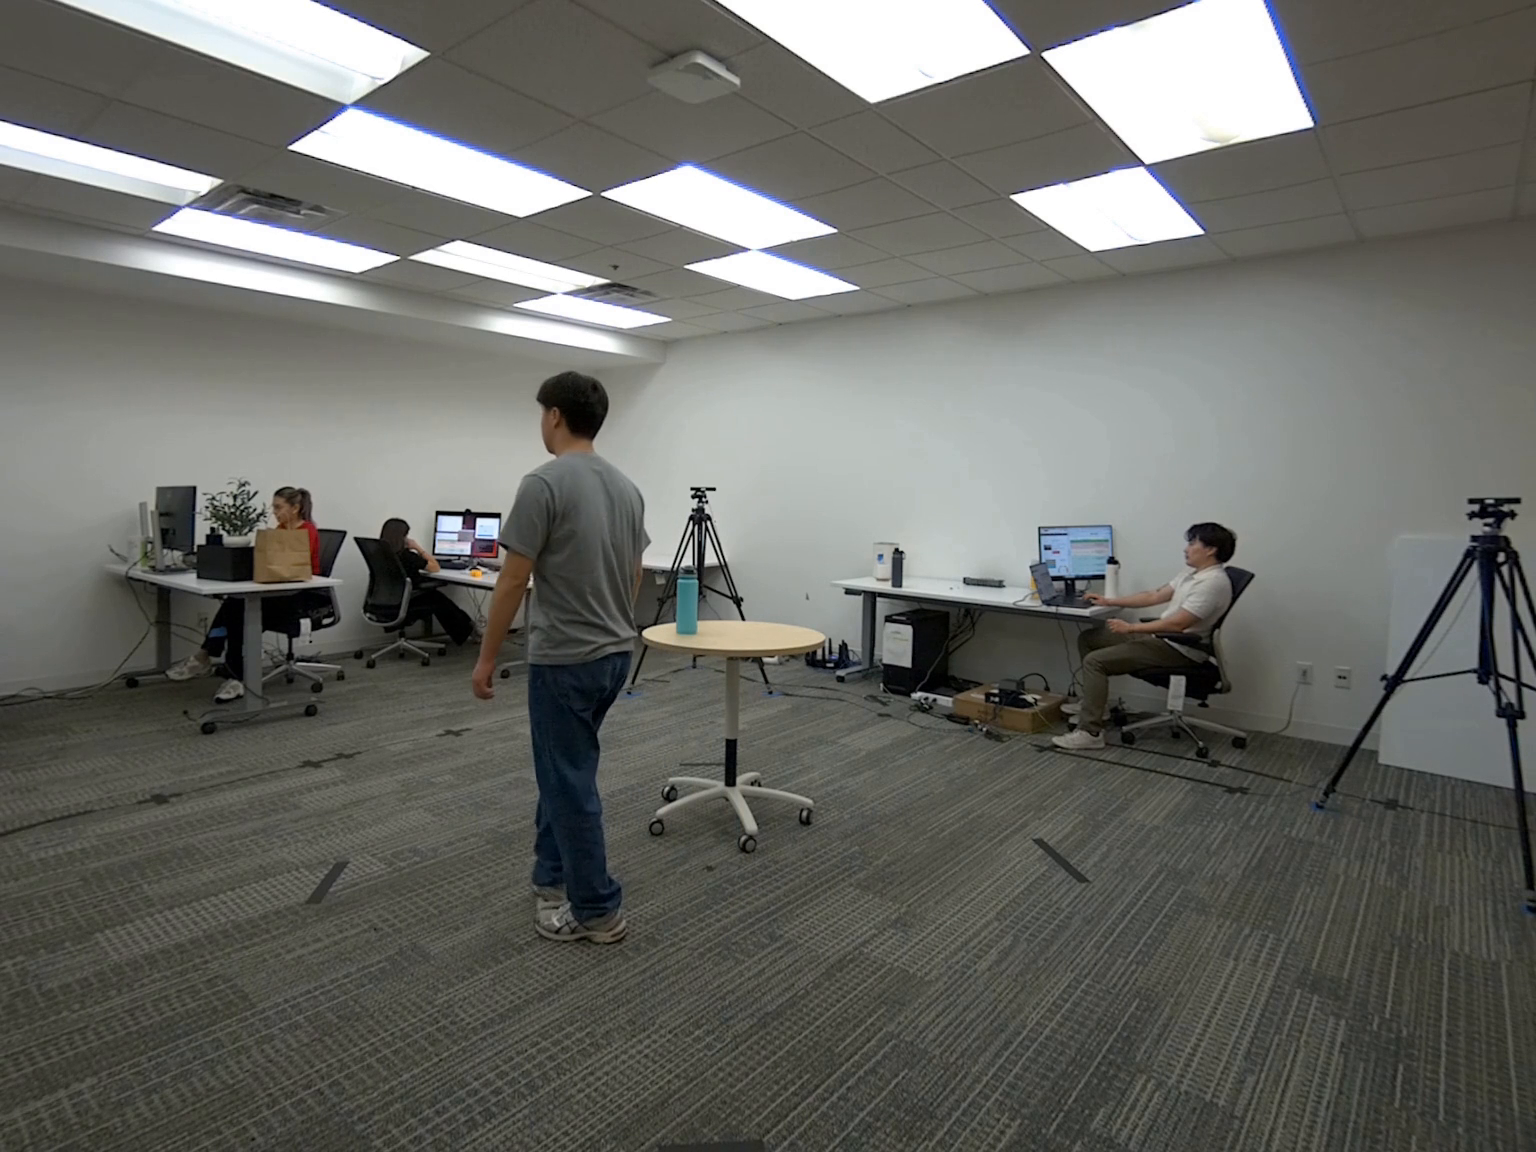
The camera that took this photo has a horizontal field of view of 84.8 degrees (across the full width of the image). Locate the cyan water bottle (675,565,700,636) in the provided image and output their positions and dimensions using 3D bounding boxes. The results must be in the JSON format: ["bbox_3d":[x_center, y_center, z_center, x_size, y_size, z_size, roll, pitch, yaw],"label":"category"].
[{"bbox_3d":[-0.354,0.096,3.569,0.092,0.283,0.092,0,2,-2],"label":"cyan water bottle"}]
